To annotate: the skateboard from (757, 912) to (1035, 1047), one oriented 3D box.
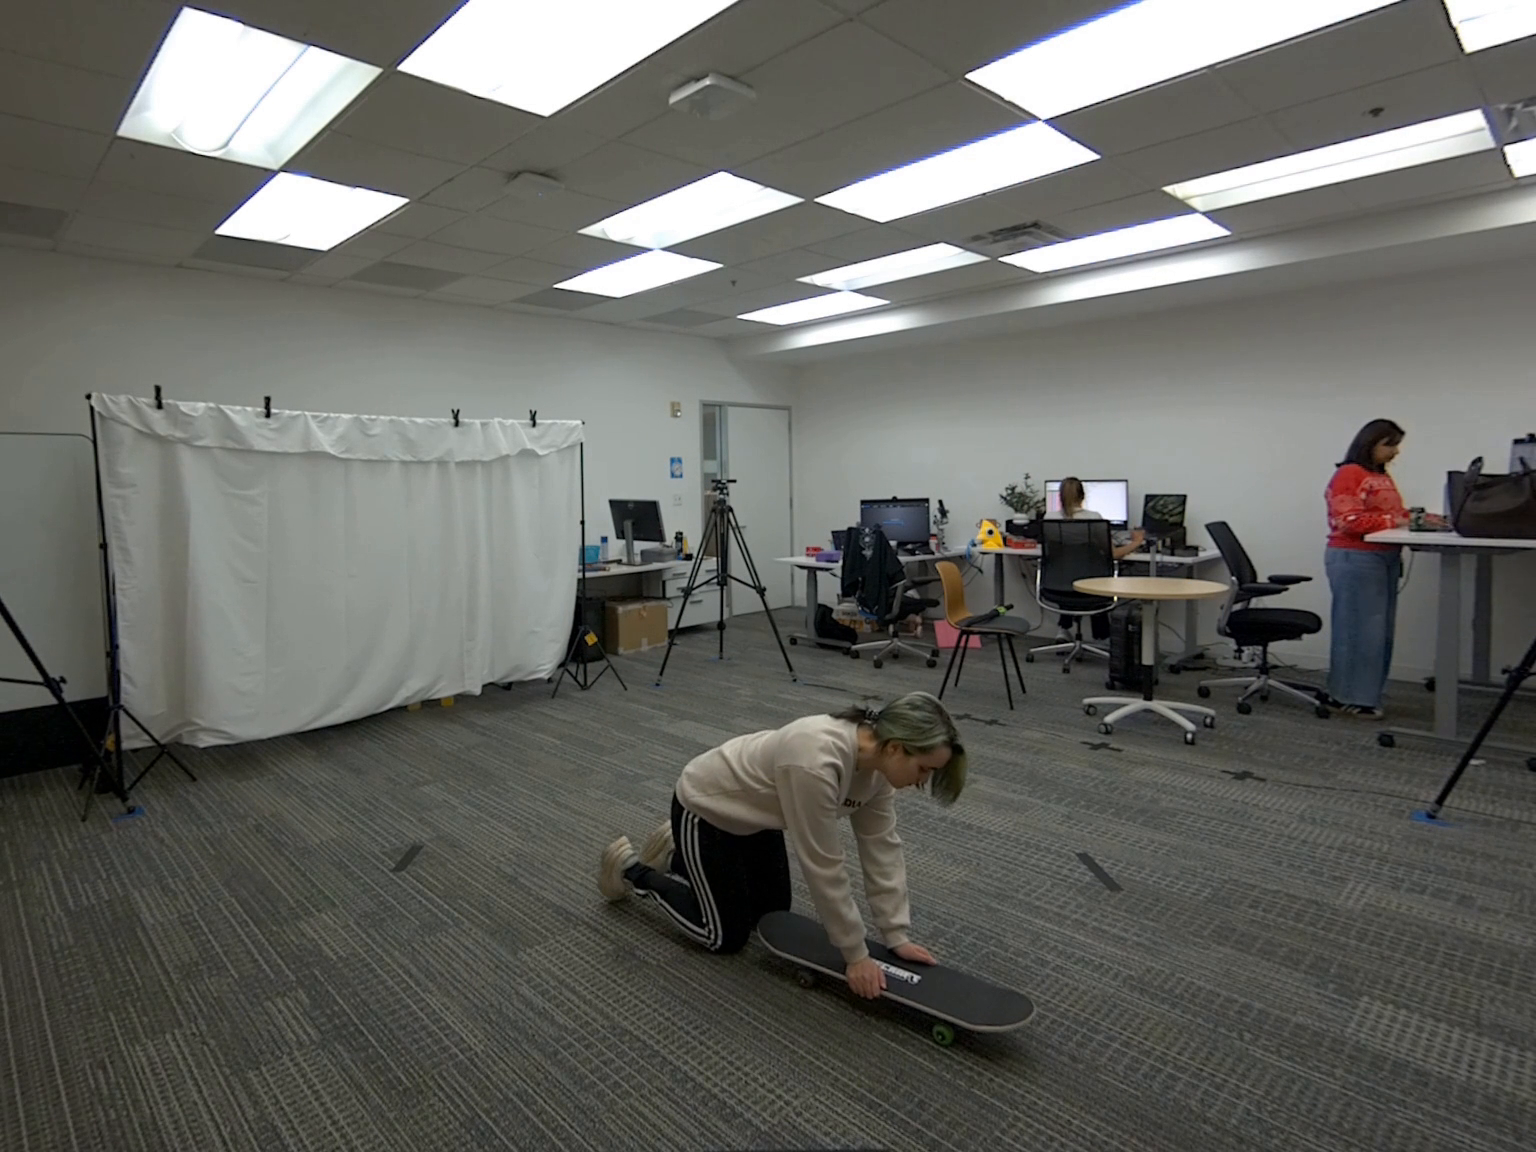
[{"bbox_3d":[0.312,1.075,2.287,0.808,0.110,0.189,3,8,36],"label":"skateboard"}]
